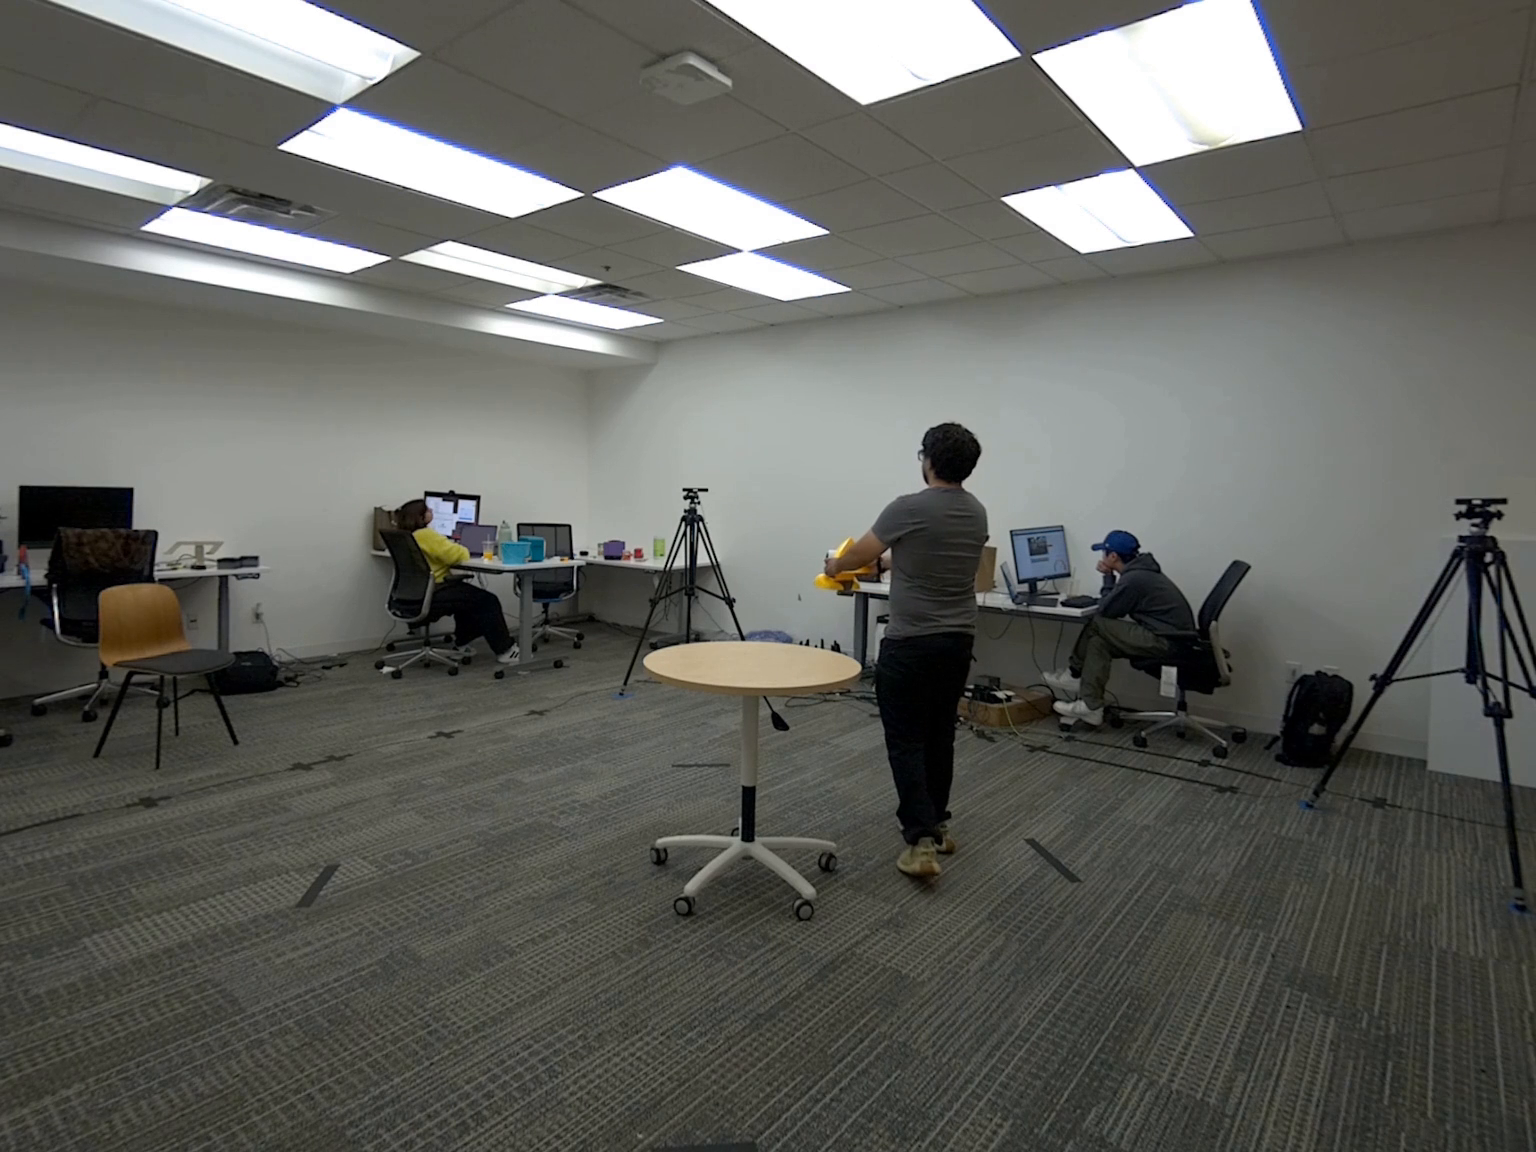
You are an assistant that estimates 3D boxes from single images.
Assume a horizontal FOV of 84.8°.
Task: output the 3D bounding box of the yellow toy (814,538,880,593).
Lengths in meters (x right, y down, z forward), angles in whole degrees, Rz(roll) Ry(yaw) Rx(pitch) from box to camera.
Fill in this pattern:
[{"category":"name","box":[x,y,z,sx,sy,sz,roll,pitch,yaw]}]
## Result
[{"category":"yellow toy","box":[0.312,-0.068,3.750,0.199,0.229,0.200,-1,8,-33]}]
